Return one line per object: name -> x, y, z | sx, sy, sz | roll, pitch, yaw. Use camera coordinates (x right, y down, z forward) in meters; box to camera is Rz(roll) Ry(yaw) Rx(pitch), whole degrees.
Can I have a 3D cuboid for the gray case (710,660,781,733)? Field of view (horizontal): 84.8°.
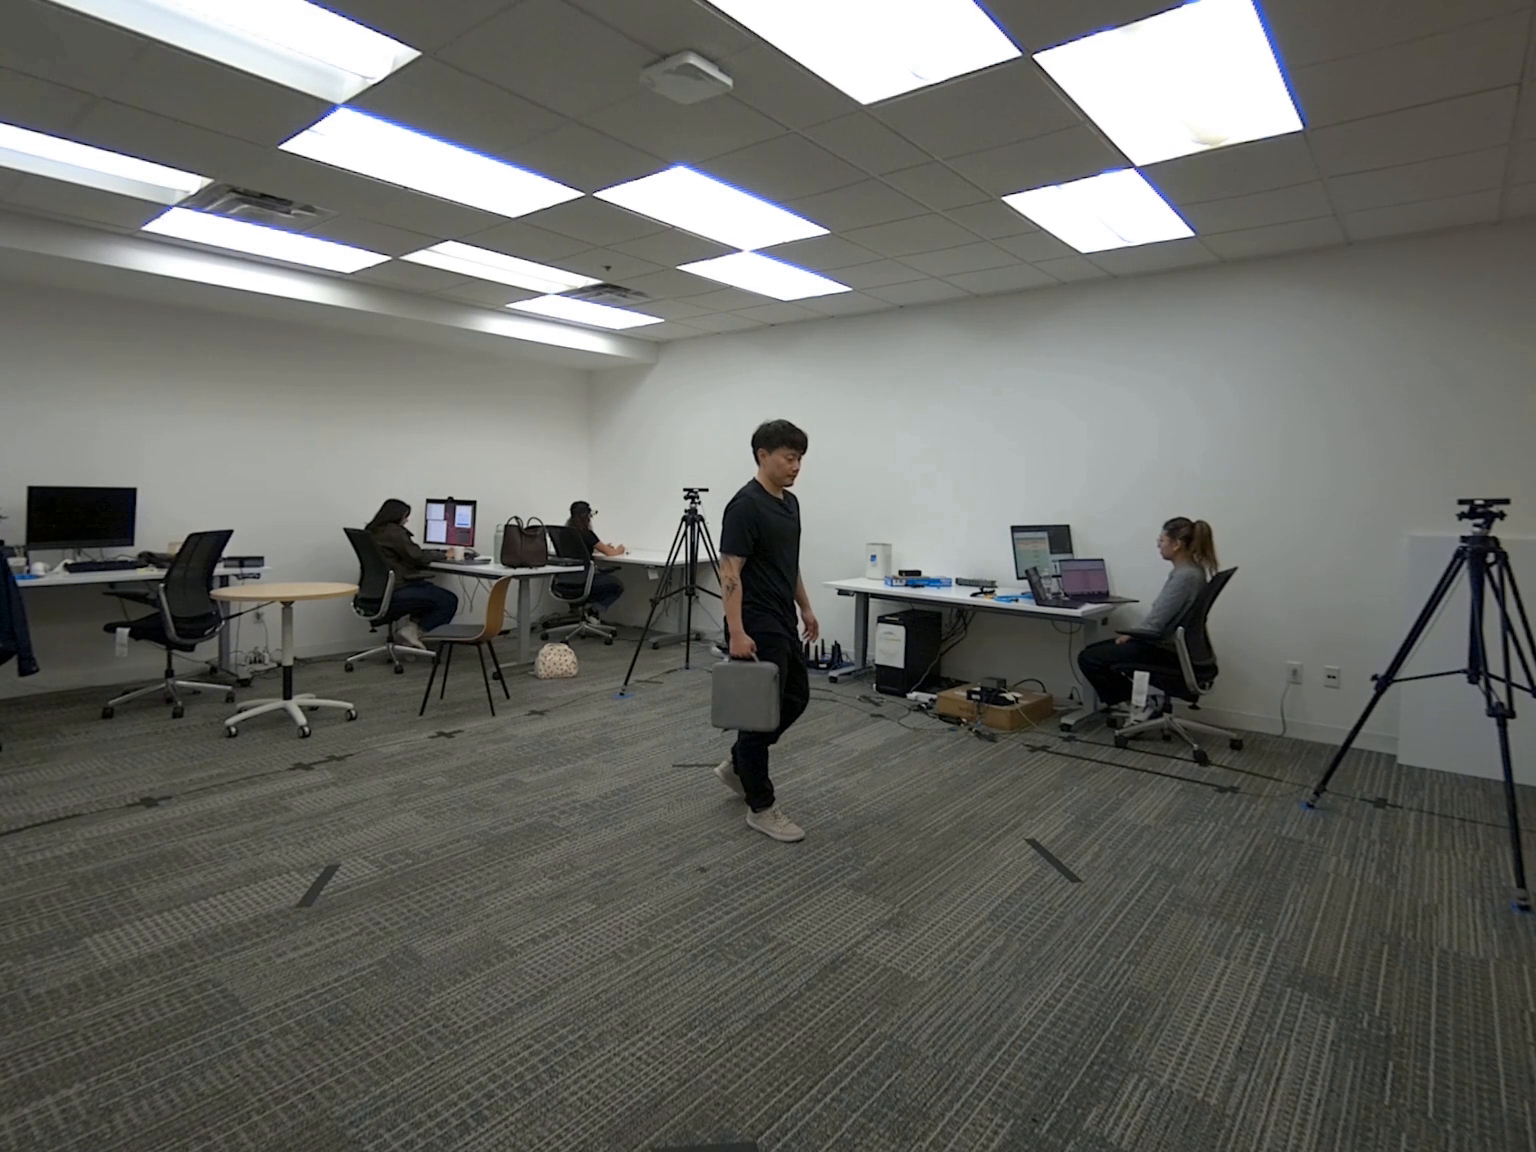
gray case -> -0.102, 0.441, 3.224 | 0.262, 0.262, 0.101 | -3, -5, 22
